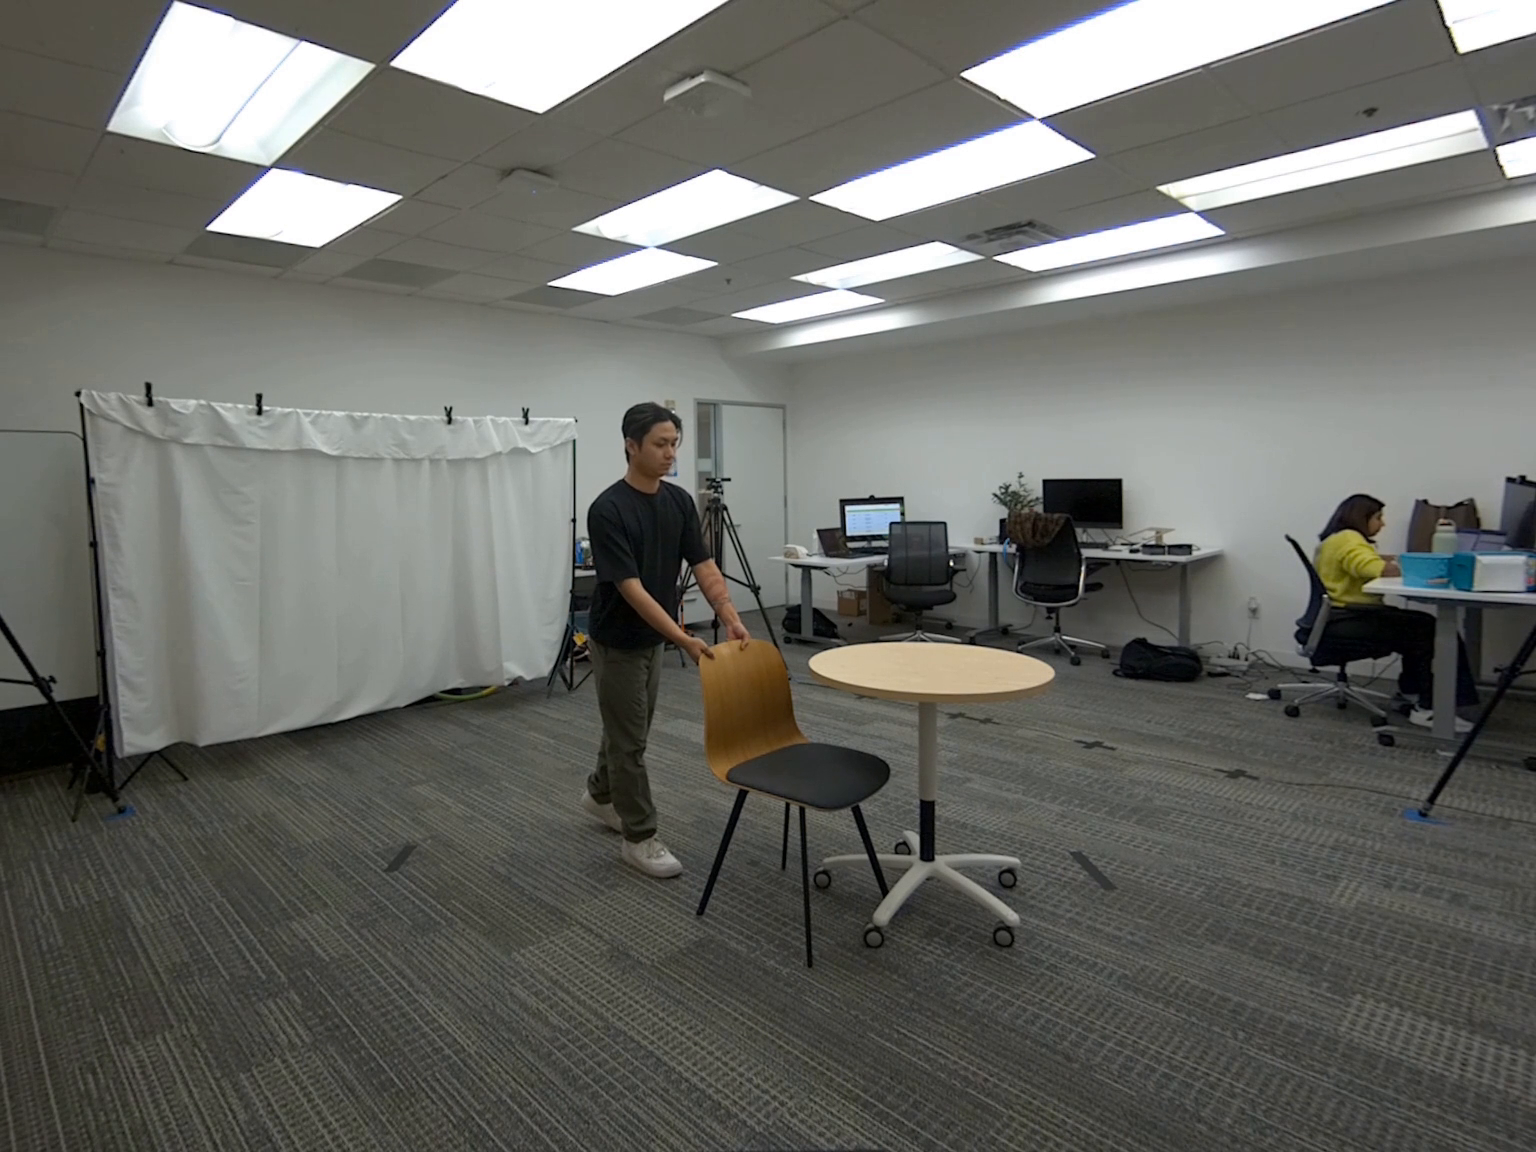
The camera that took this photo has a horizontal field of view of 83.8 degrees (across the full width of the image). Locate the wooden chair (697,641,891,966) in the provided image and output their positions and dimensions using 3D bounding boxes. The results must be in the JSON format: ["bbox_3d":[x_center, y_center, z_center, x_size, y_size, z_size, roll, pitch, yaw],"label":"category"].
[{"bbox_3d":[0.088,0.655,2.711,0.537,0.876,0.466,-4,2,41],"label":"wooden chair"}]
